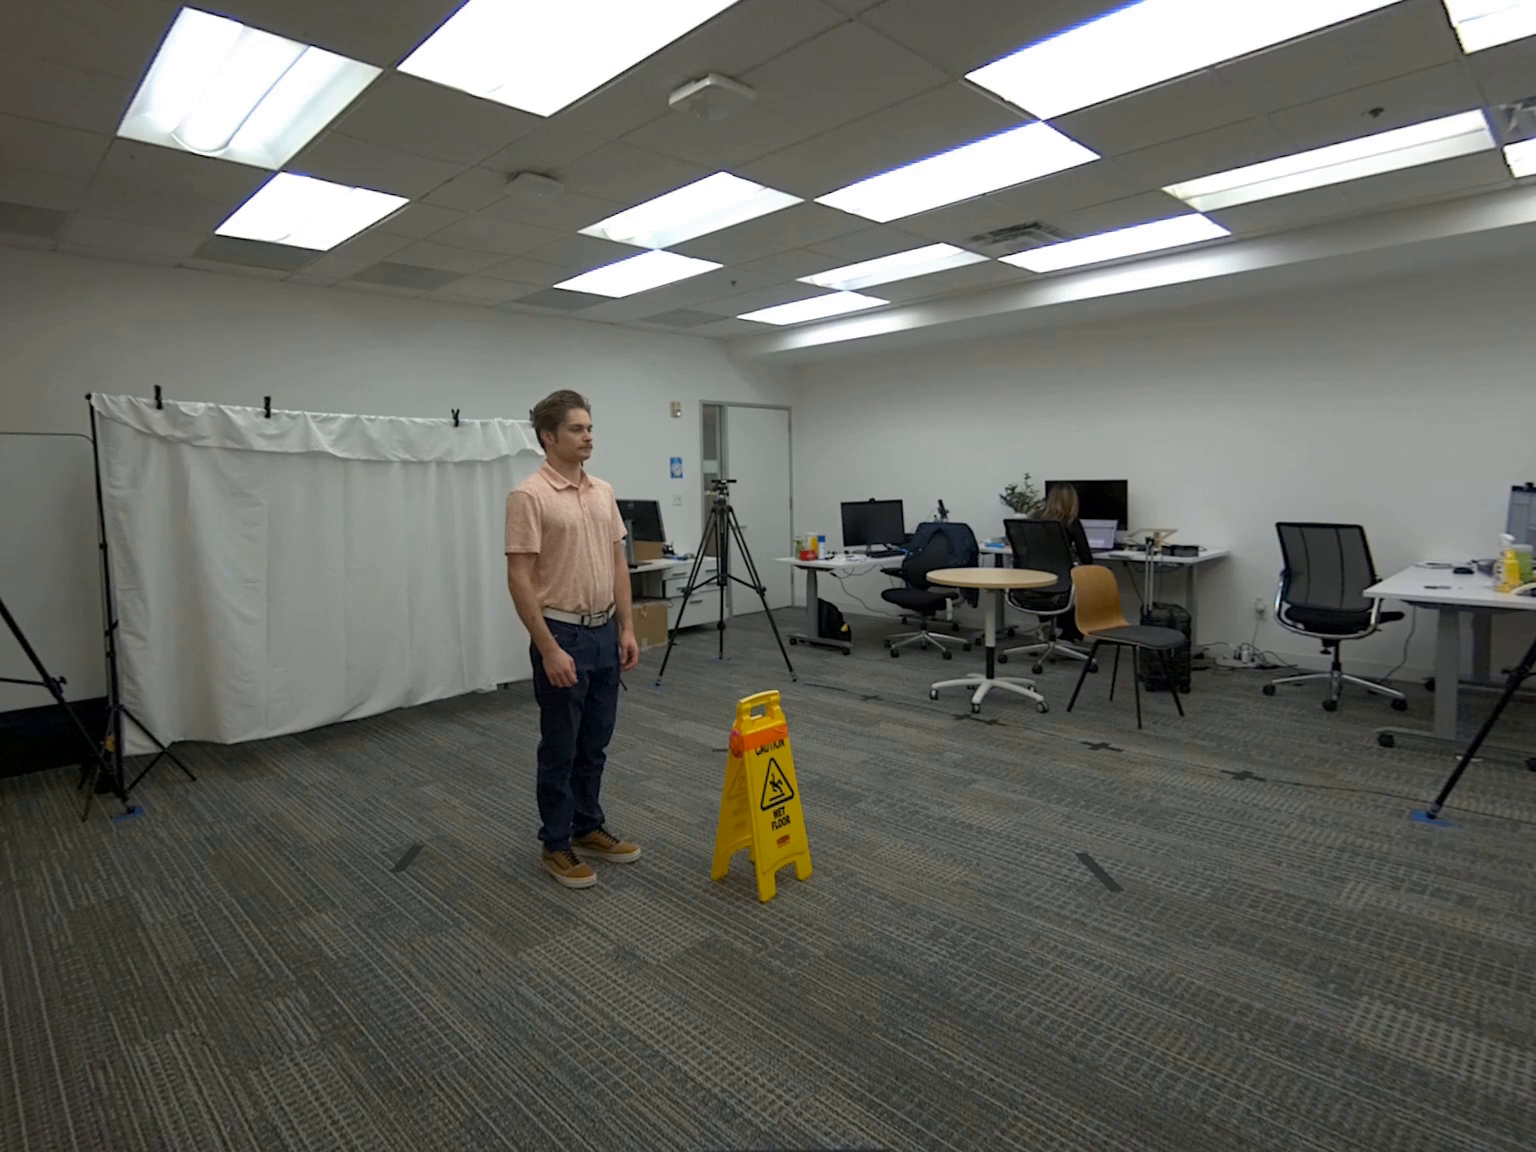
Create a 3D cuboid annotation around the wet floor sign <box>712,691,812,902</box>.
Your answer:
[{"bbox_3d":[-0.024,0.730,2.977,0.299,0.643,0.275,4,6,42],"label":"wet floor sign"}]
